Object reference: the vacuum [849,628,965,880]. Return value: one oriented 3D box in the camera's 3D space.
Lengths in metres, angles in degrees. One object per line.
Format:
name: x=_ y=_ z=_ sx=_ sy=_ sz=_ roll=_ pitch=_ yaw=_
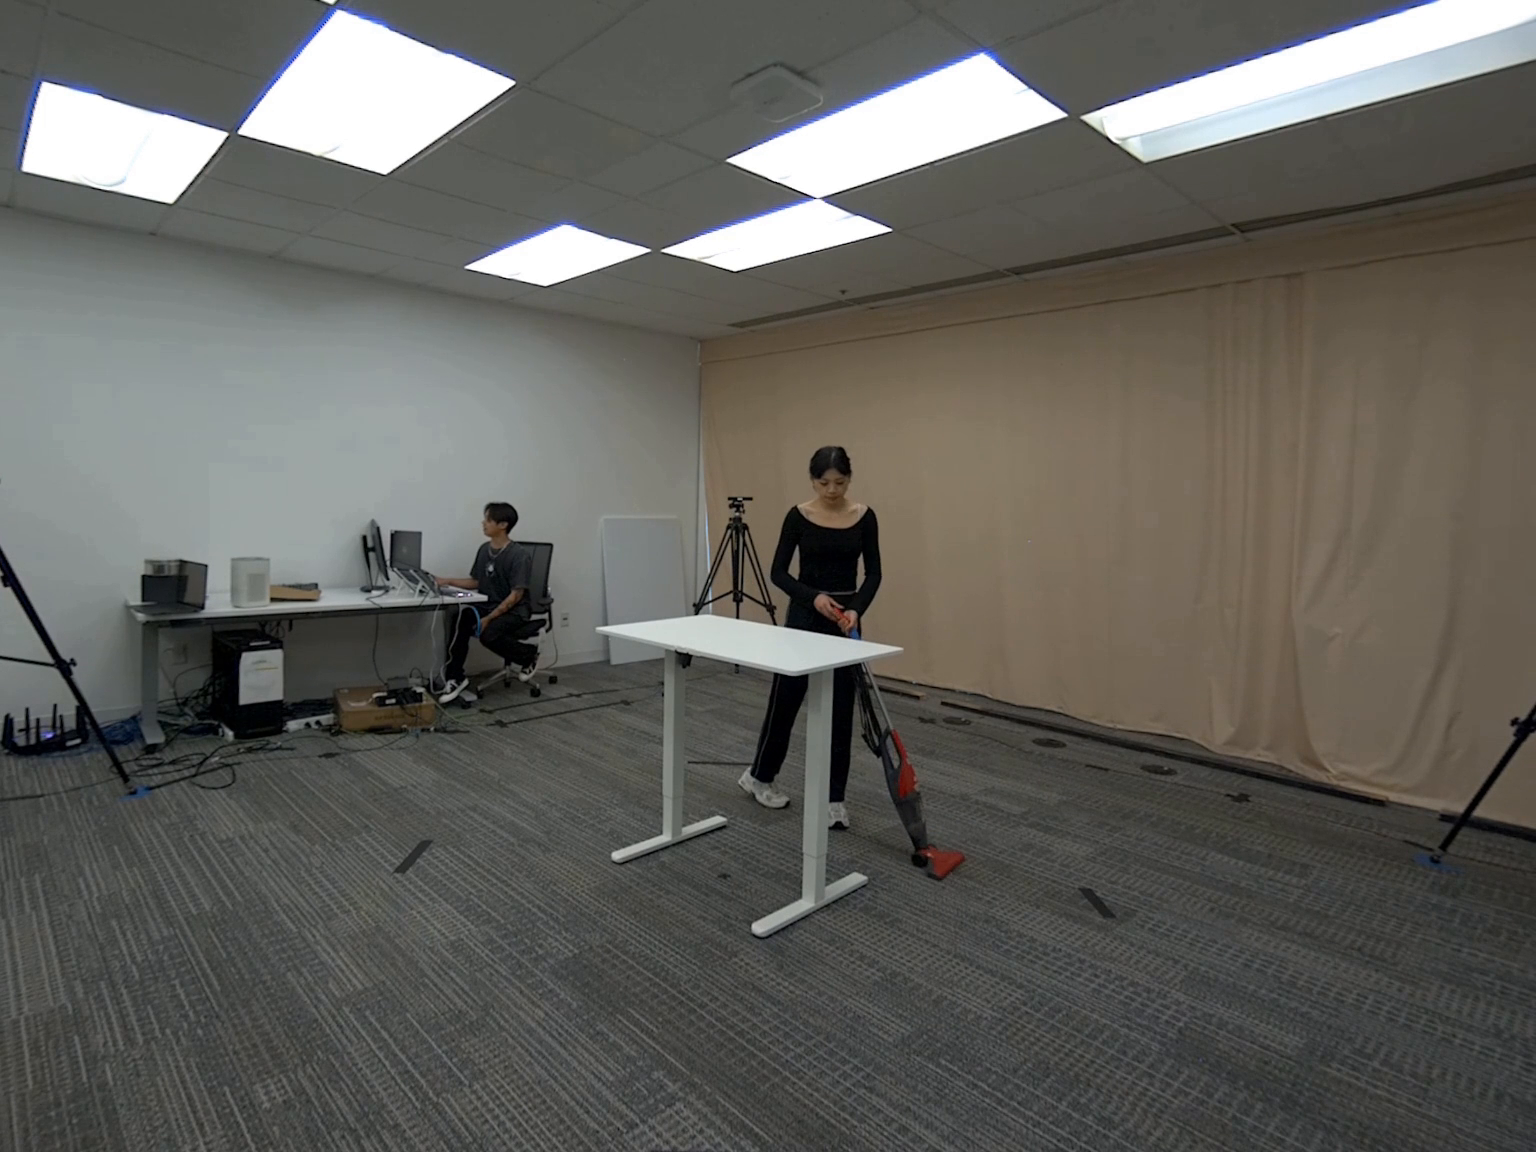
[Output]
vacuum: x=0.459 y=0.631 z=3.368 sx=0.145 sy=1.063 sz=0.247 roll=-28 pitch=-16 yaw=30
